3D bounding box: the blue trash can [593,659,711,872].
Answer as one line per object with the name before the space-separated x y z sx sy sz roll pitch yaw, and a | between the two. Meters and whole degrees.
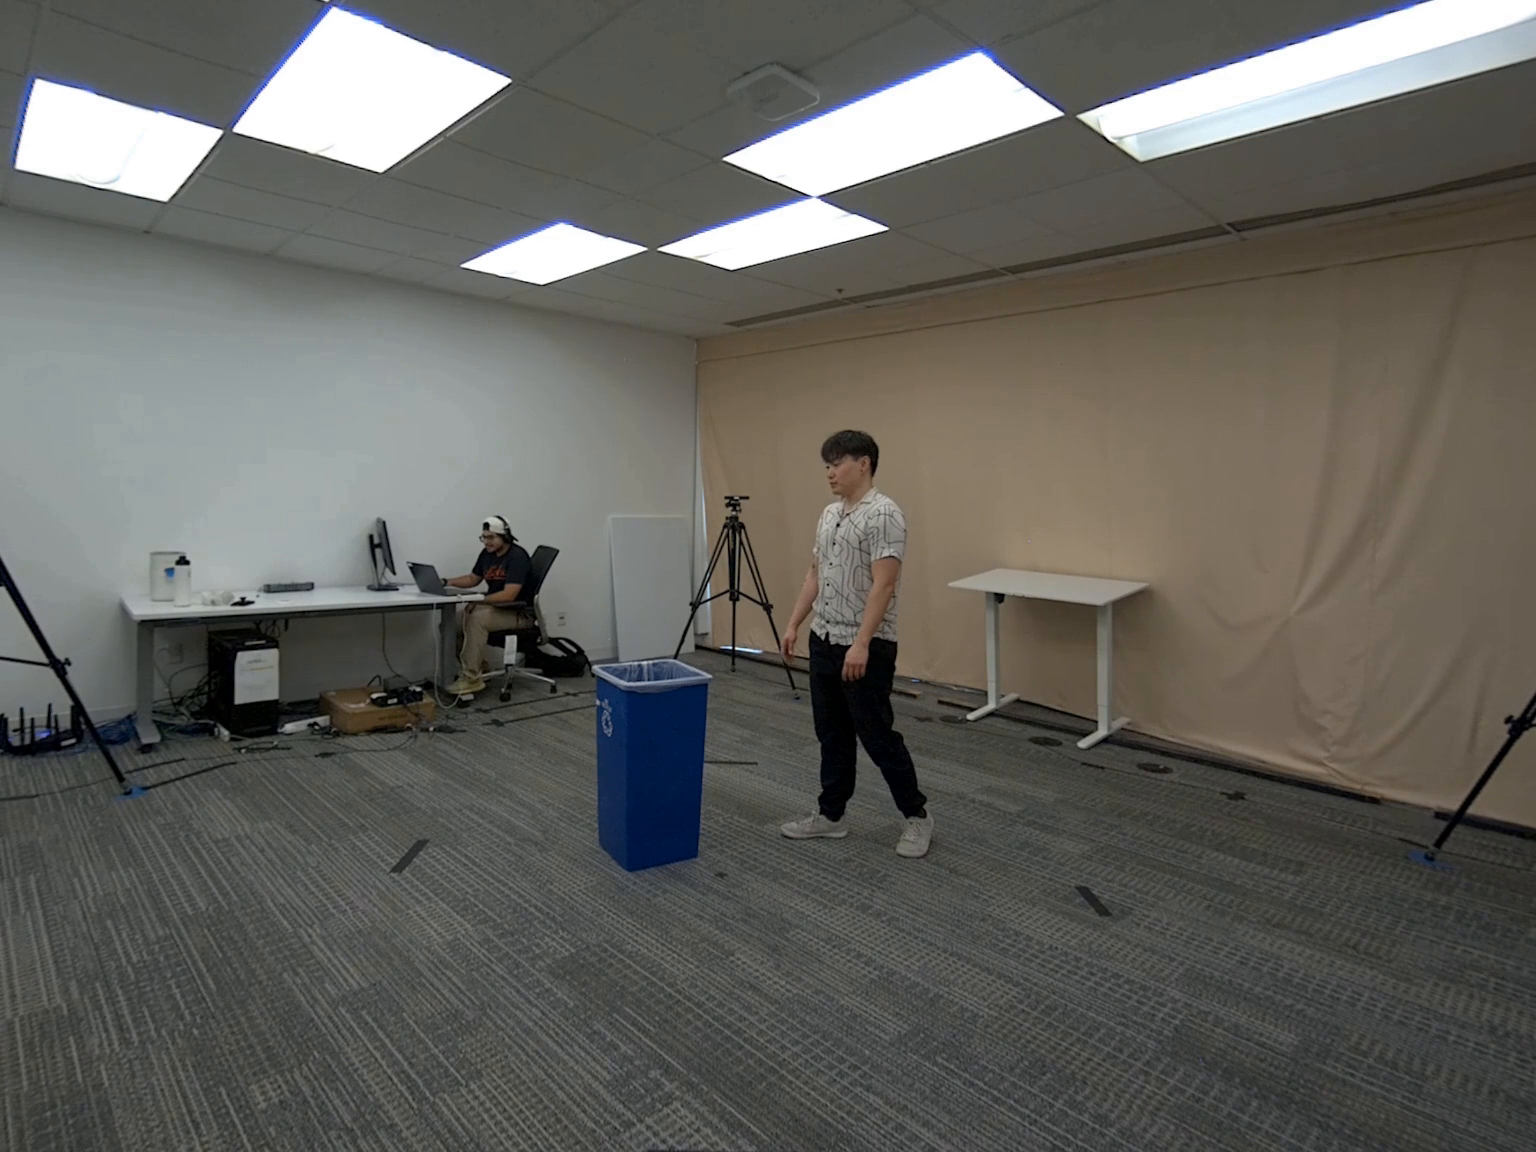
blue trash can | -0.465 0.724 3.278 0.370 0.712 0.383 -1 4 -32
